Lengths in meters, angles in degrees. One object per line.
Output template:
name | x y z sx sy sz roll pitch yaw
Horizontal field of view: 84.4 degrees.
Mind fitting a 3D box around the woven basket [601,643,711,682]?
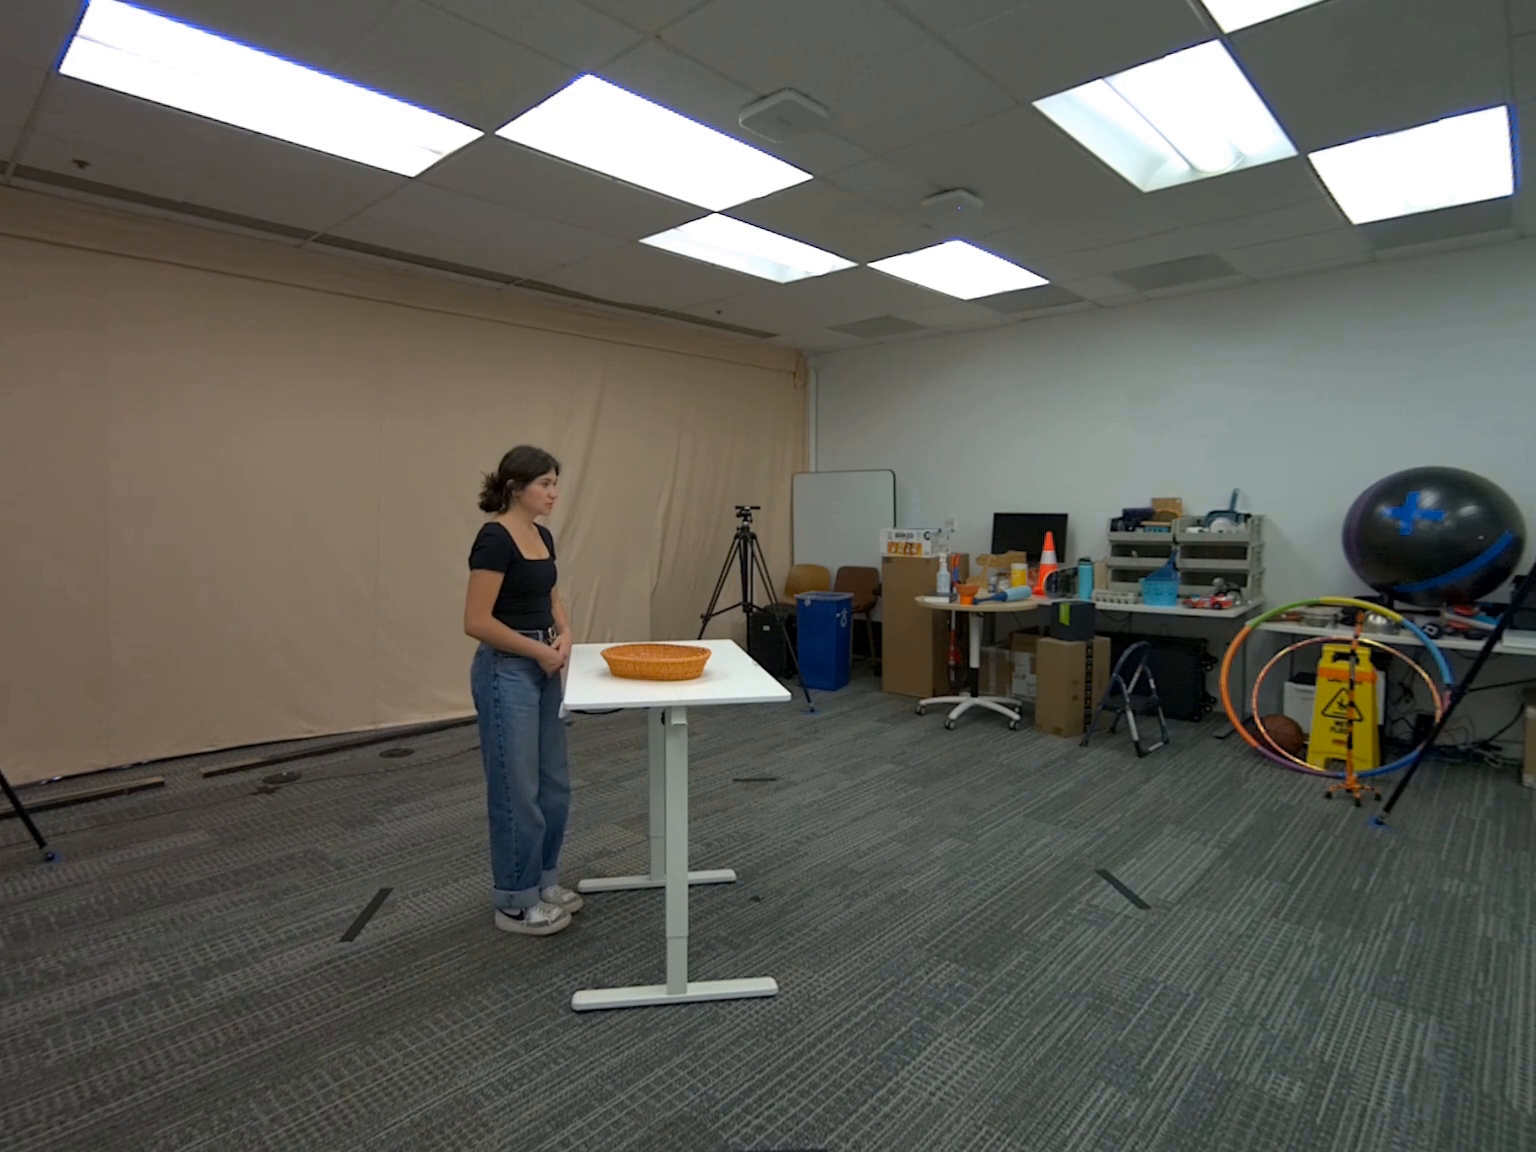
woven basket | -0.338 0.273 2.530 0.356 0.073 0.249 0 5 14
